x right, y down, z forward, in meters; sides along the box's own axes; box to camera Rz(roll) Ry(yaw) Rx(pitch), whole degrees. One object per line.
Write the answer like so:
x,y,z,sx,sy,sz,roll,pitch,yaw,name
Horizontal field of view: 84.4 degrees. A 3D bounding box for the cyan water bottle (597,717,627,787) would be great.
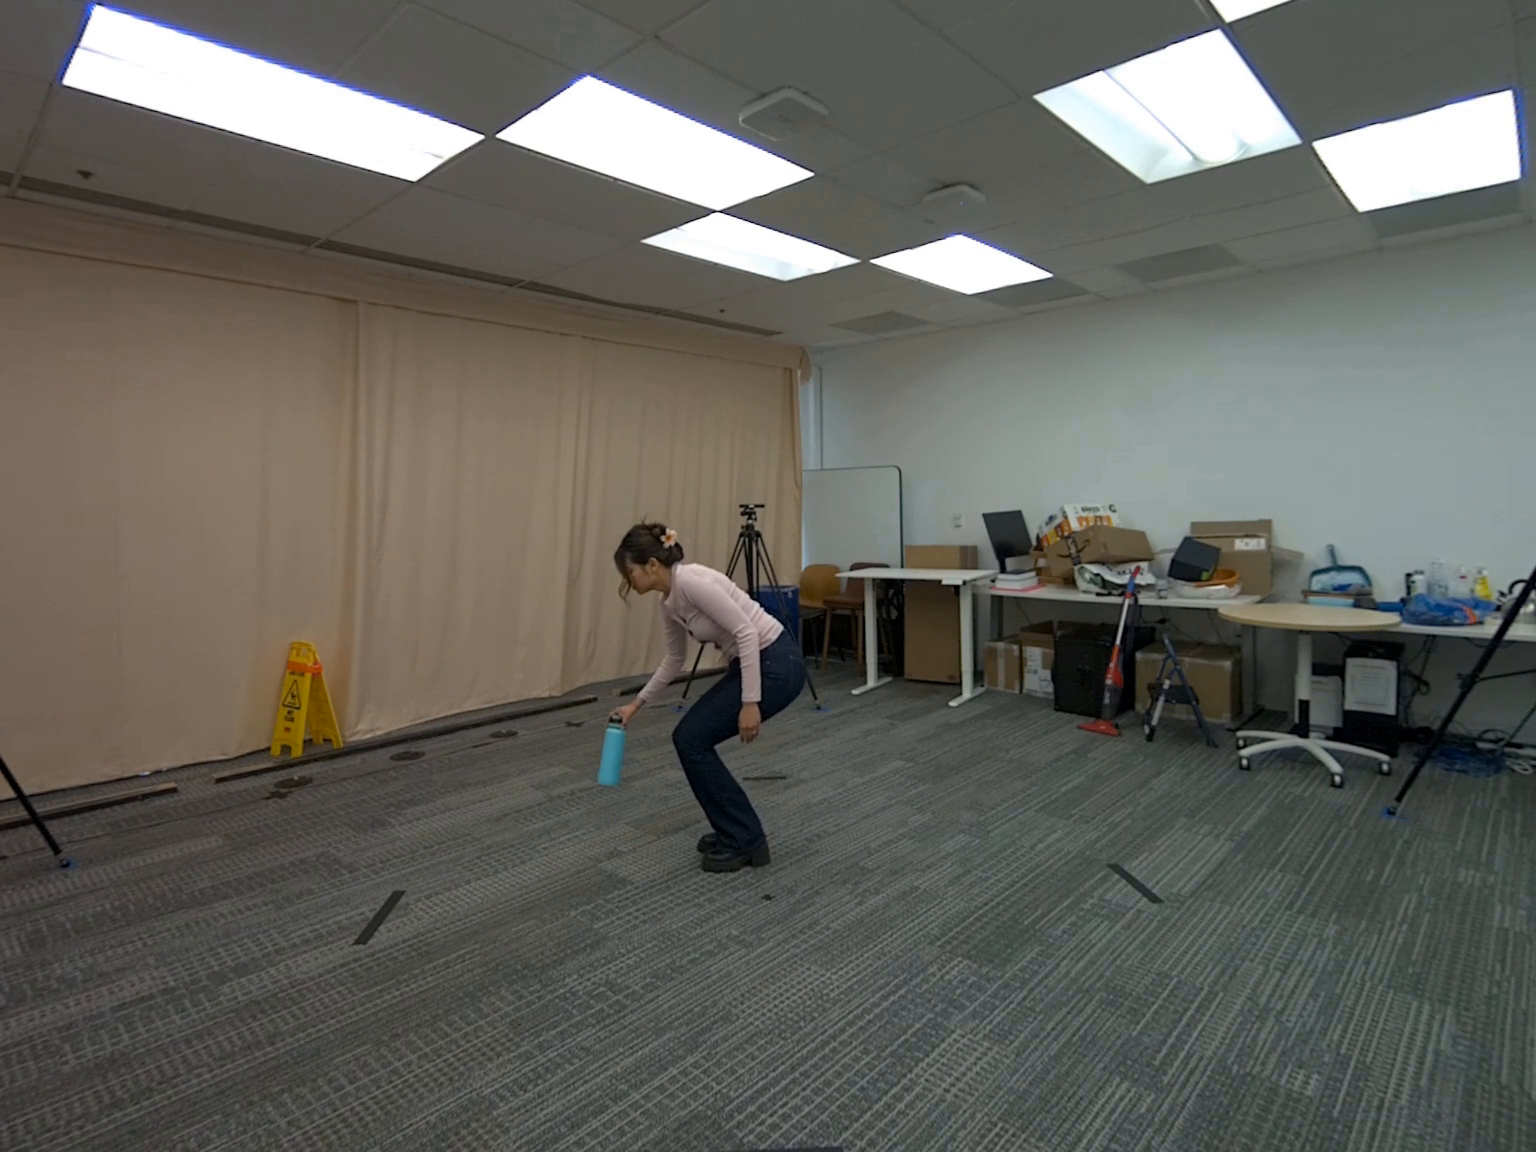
-0.645,0.730,3.513,0.092,0.285,0.092,7,-9,-1,cyan water bottle
